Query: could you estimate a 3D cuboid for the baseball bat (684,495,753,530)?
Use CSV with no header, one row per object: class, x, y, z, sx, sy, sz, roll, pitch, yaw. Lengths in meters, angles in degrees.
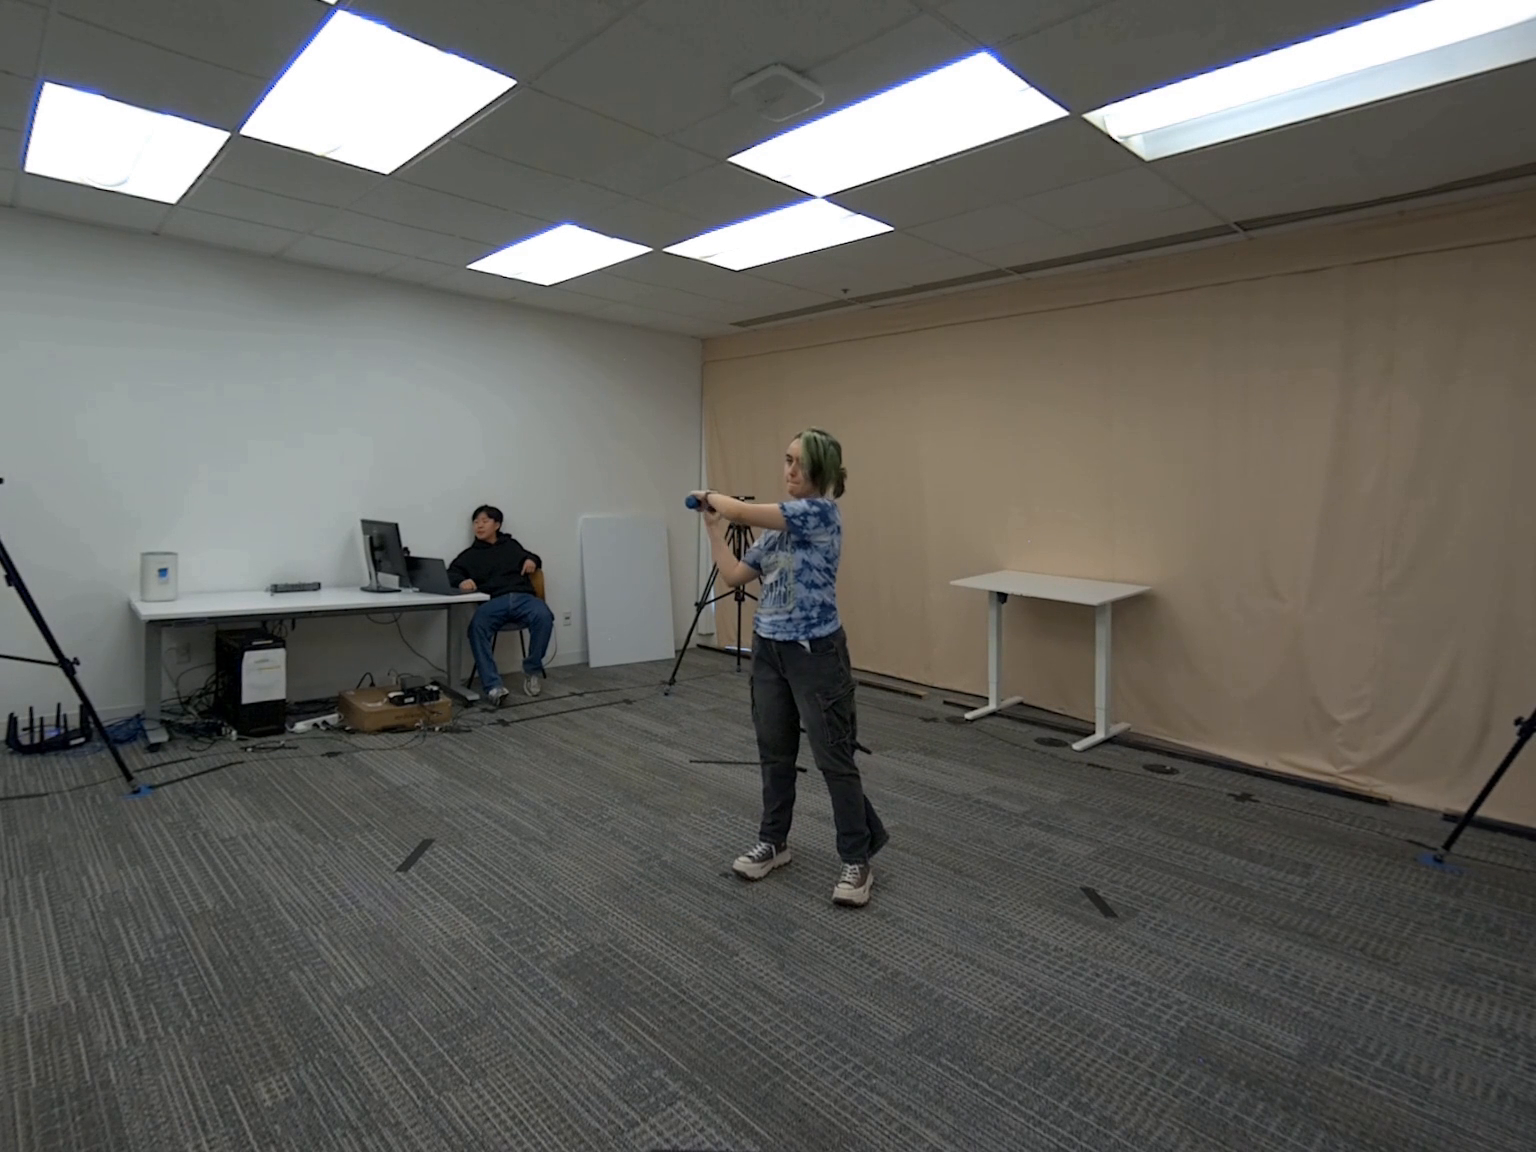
baseball bat,-0.182,-0.259,3.327,0.091,0.089,0.532,3,0,24
